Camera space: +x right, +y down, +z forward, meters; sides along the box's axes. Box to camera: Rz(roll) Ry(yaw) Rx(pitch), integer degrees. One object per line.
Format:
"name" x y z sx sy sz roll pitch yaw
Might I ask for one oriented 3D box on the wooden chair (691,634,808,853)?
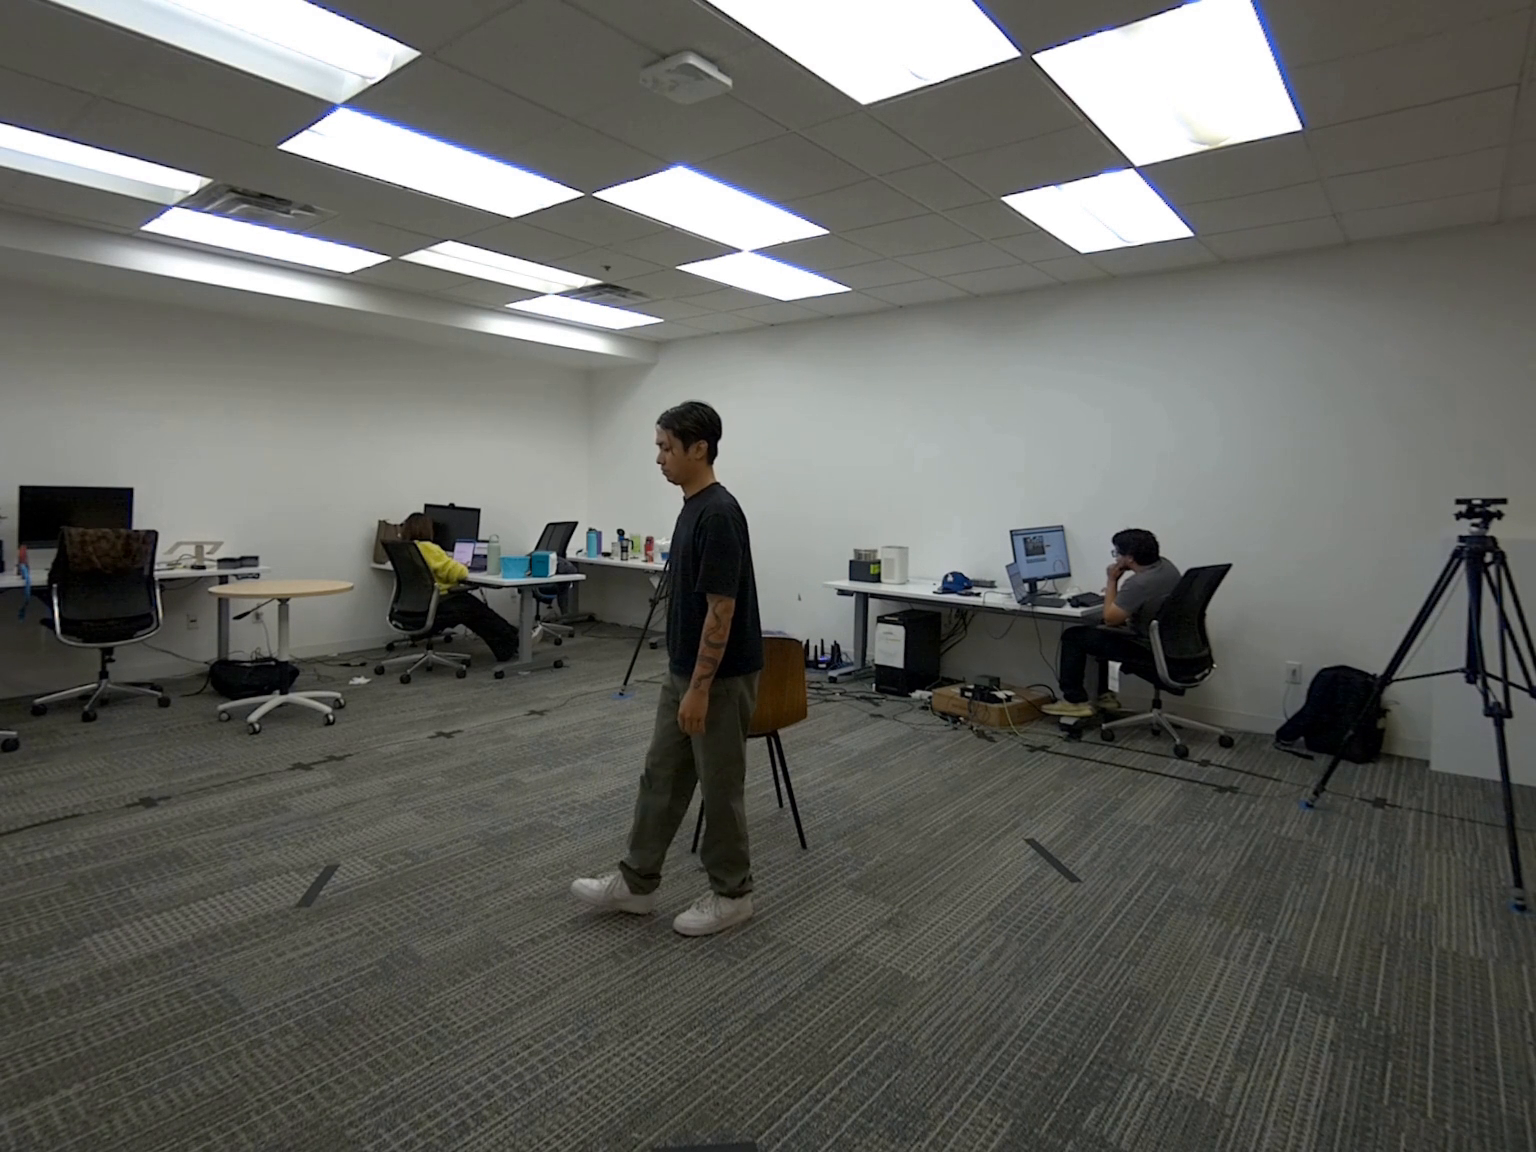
"wooden chair" -0.122 0.608 3.475 0.473 0.872 0.532 0 7 -11
